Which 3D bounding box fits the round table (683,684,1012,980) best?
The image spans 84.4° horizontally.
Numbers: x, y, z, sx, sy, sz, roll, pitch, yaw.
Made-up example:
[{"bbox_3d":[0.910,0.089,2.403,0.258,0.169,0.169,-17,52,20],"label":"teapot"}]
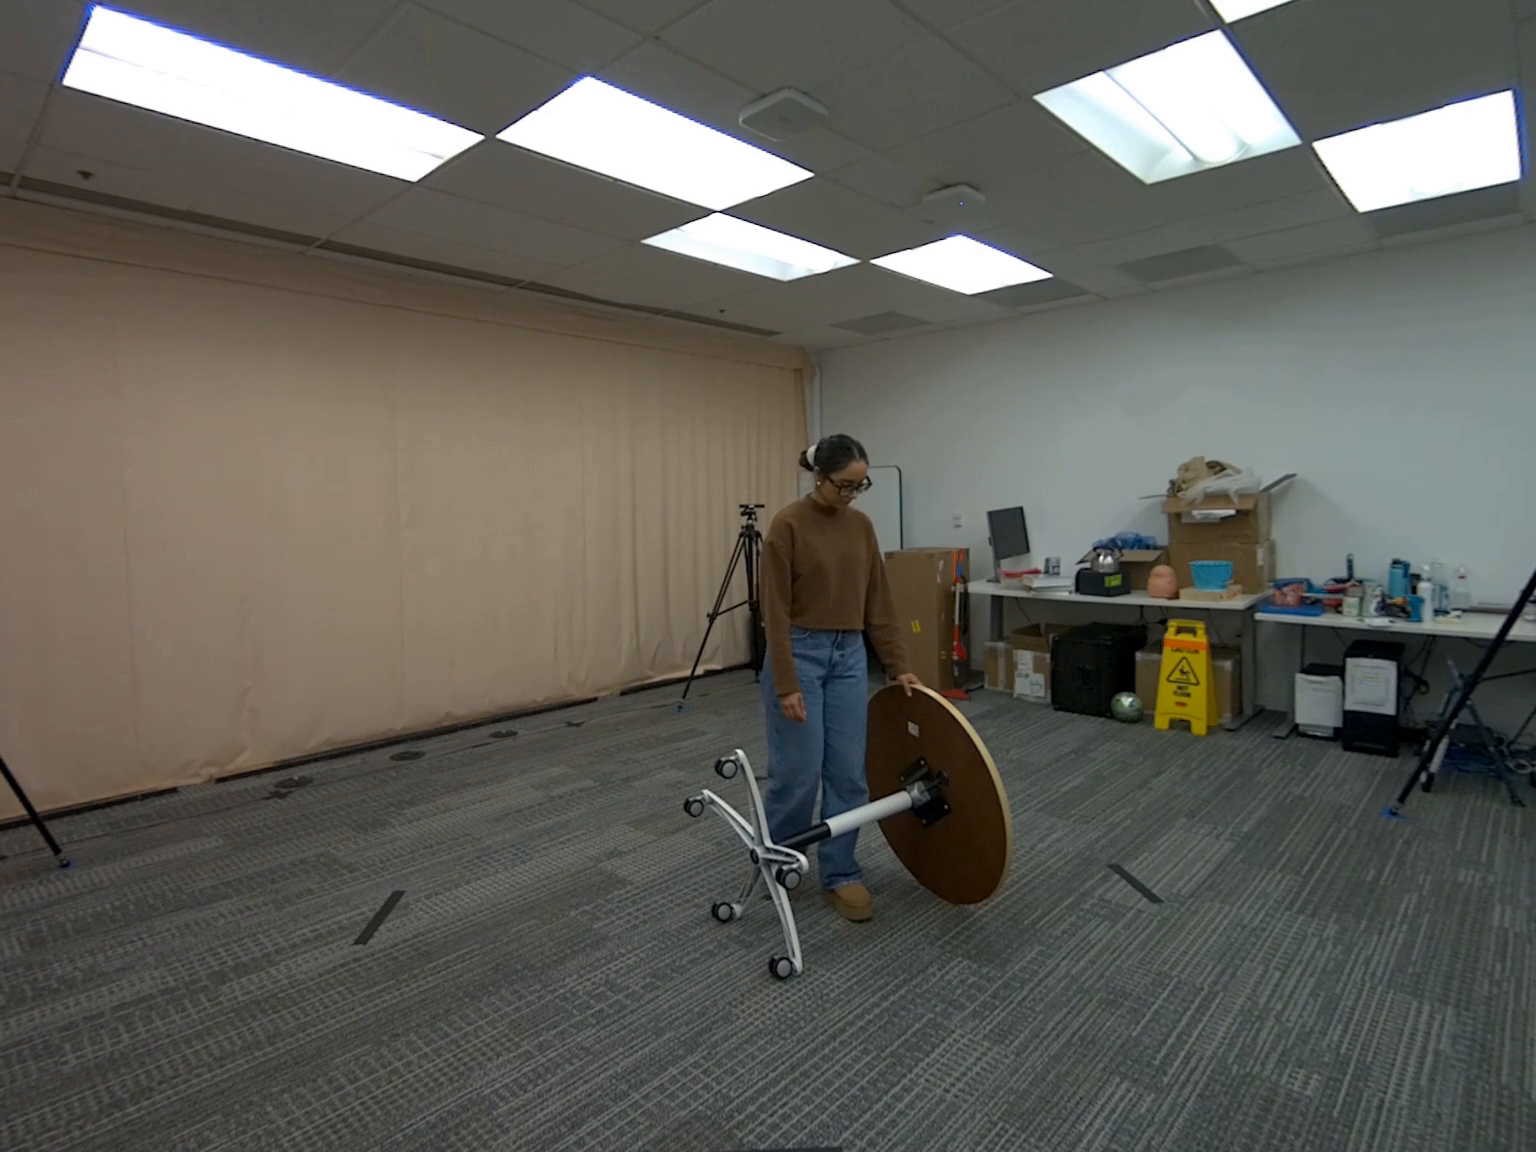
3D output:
[{"bbox_3d":[0.233,0.819,2.771,0.776,0.760,0.785,-11,8,-27],"label":"round table"}]
